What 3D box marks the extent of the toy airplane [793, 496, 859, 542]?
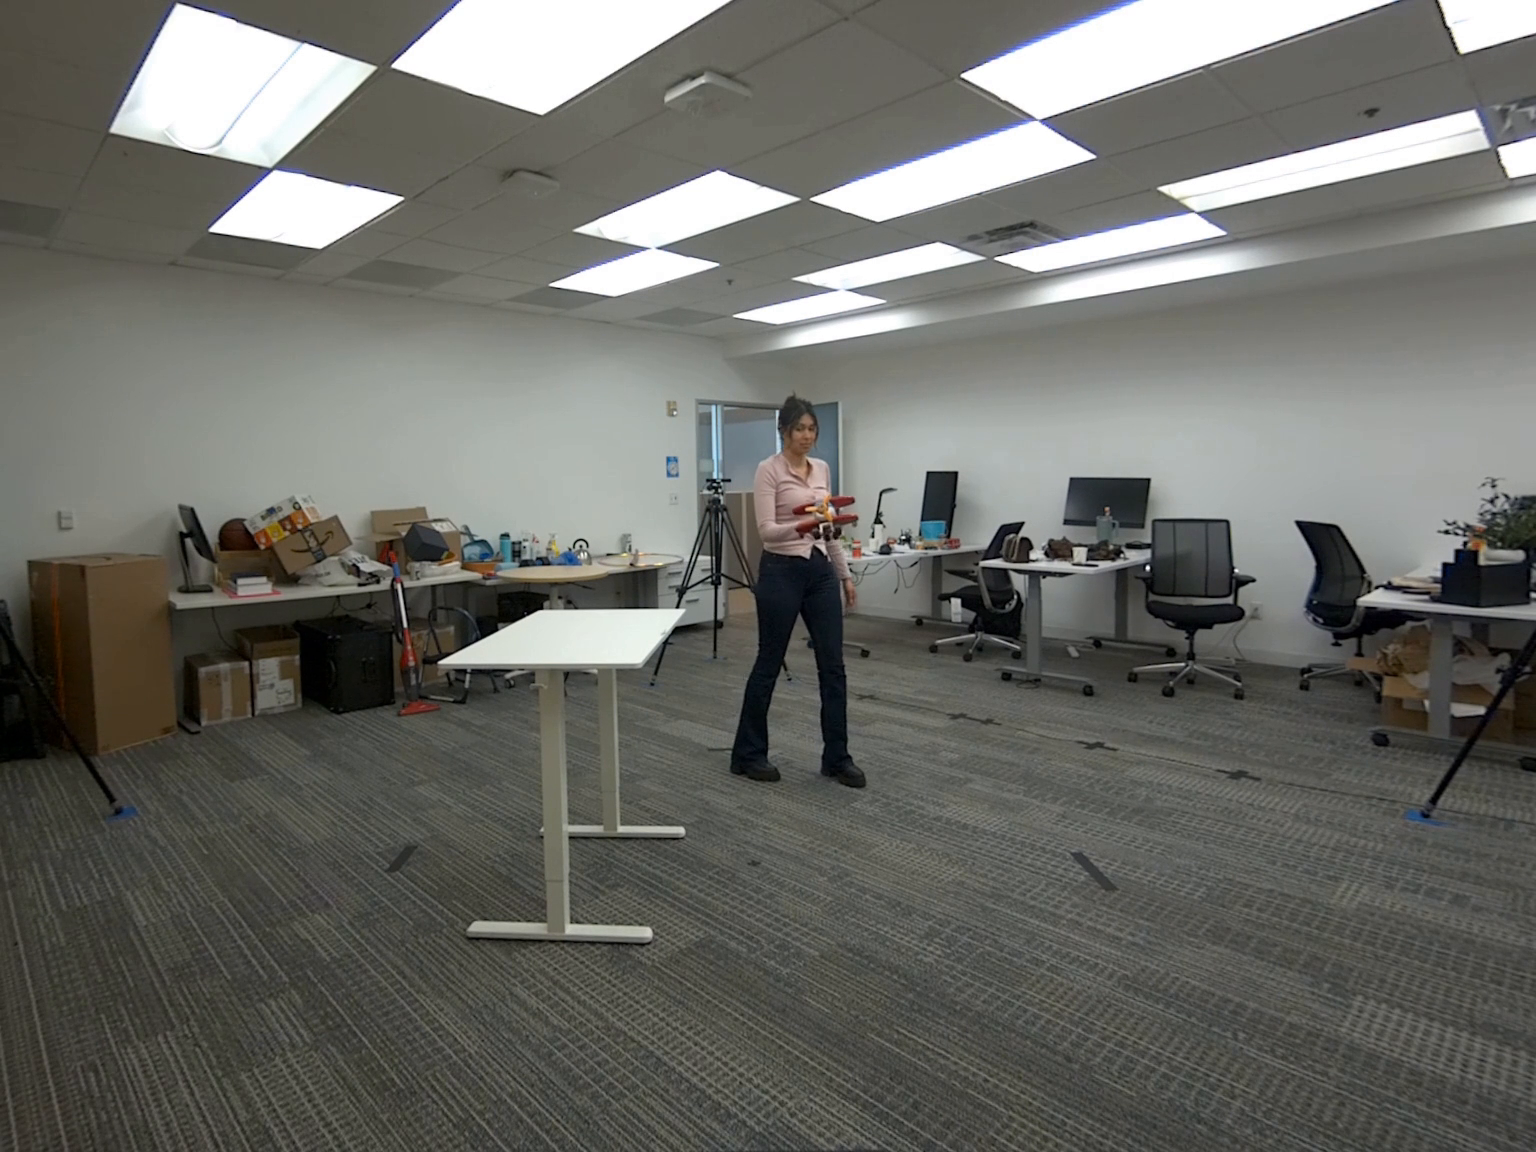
[{"bbox_3d":[0.224,-0.222,3.460,0.248,0.157,0.261,-11,-3,-17],"label":"toy airplane"}]
